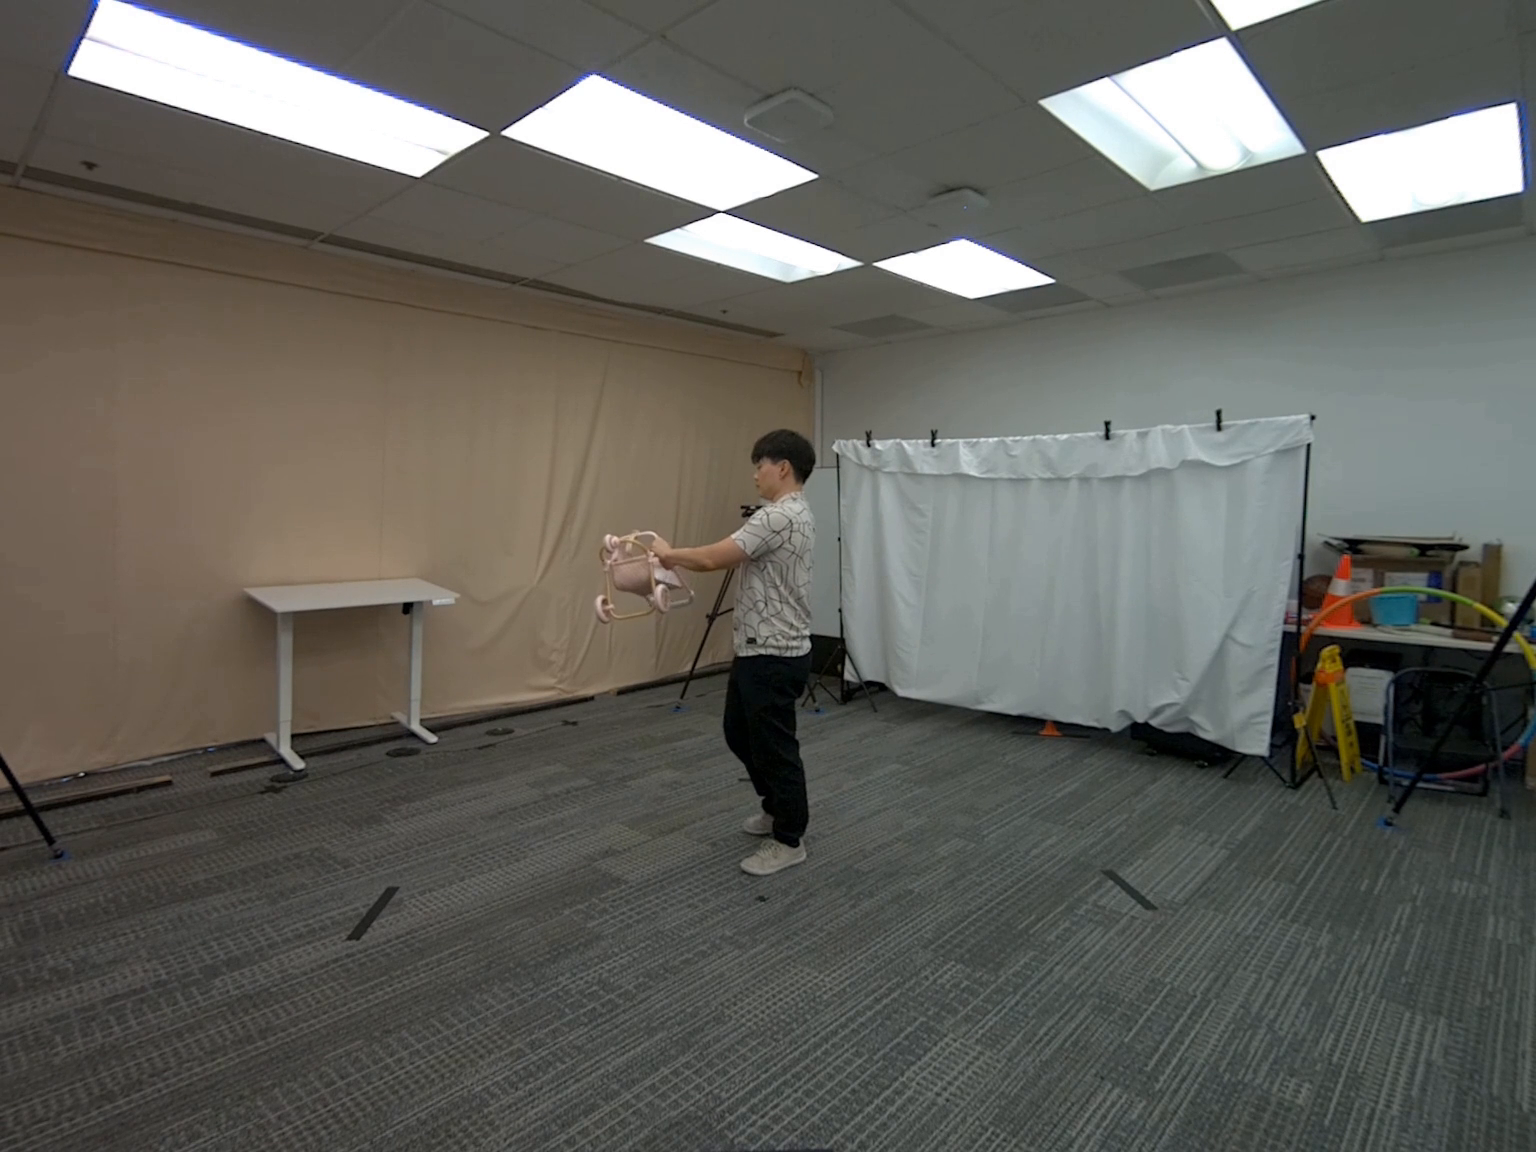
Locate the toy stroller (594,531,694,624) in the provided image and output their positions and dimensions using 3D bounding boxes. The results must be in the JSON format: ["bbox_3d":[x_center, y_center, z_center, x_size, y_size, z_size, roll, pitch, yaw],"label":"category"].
[{"bbox_3d":[-0.494,-0.006,3.319,0.286,0.342,0.526,-16,0,19],"label":"toy stroller"}]
